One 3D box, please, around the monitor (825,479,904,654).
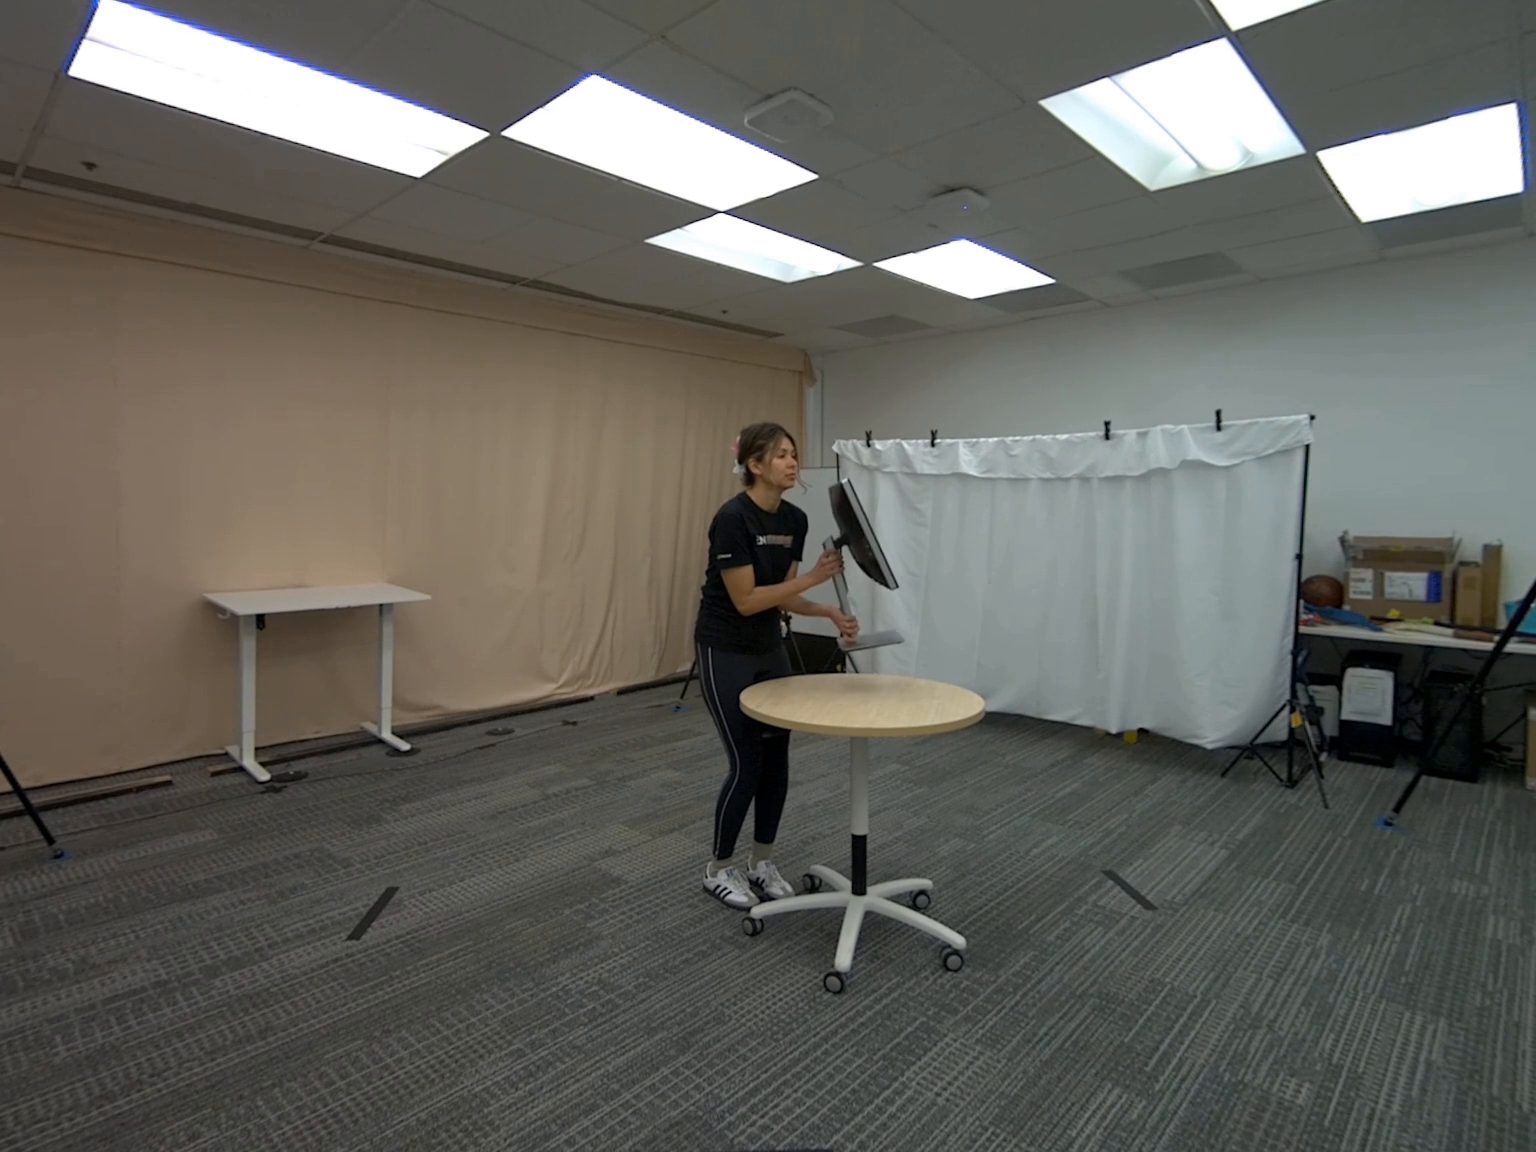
[{"bbox_3d":[0.296,-0.039,2.783,0.187,0.521,0.540,-12,3,0],"label":"monitor"}]
